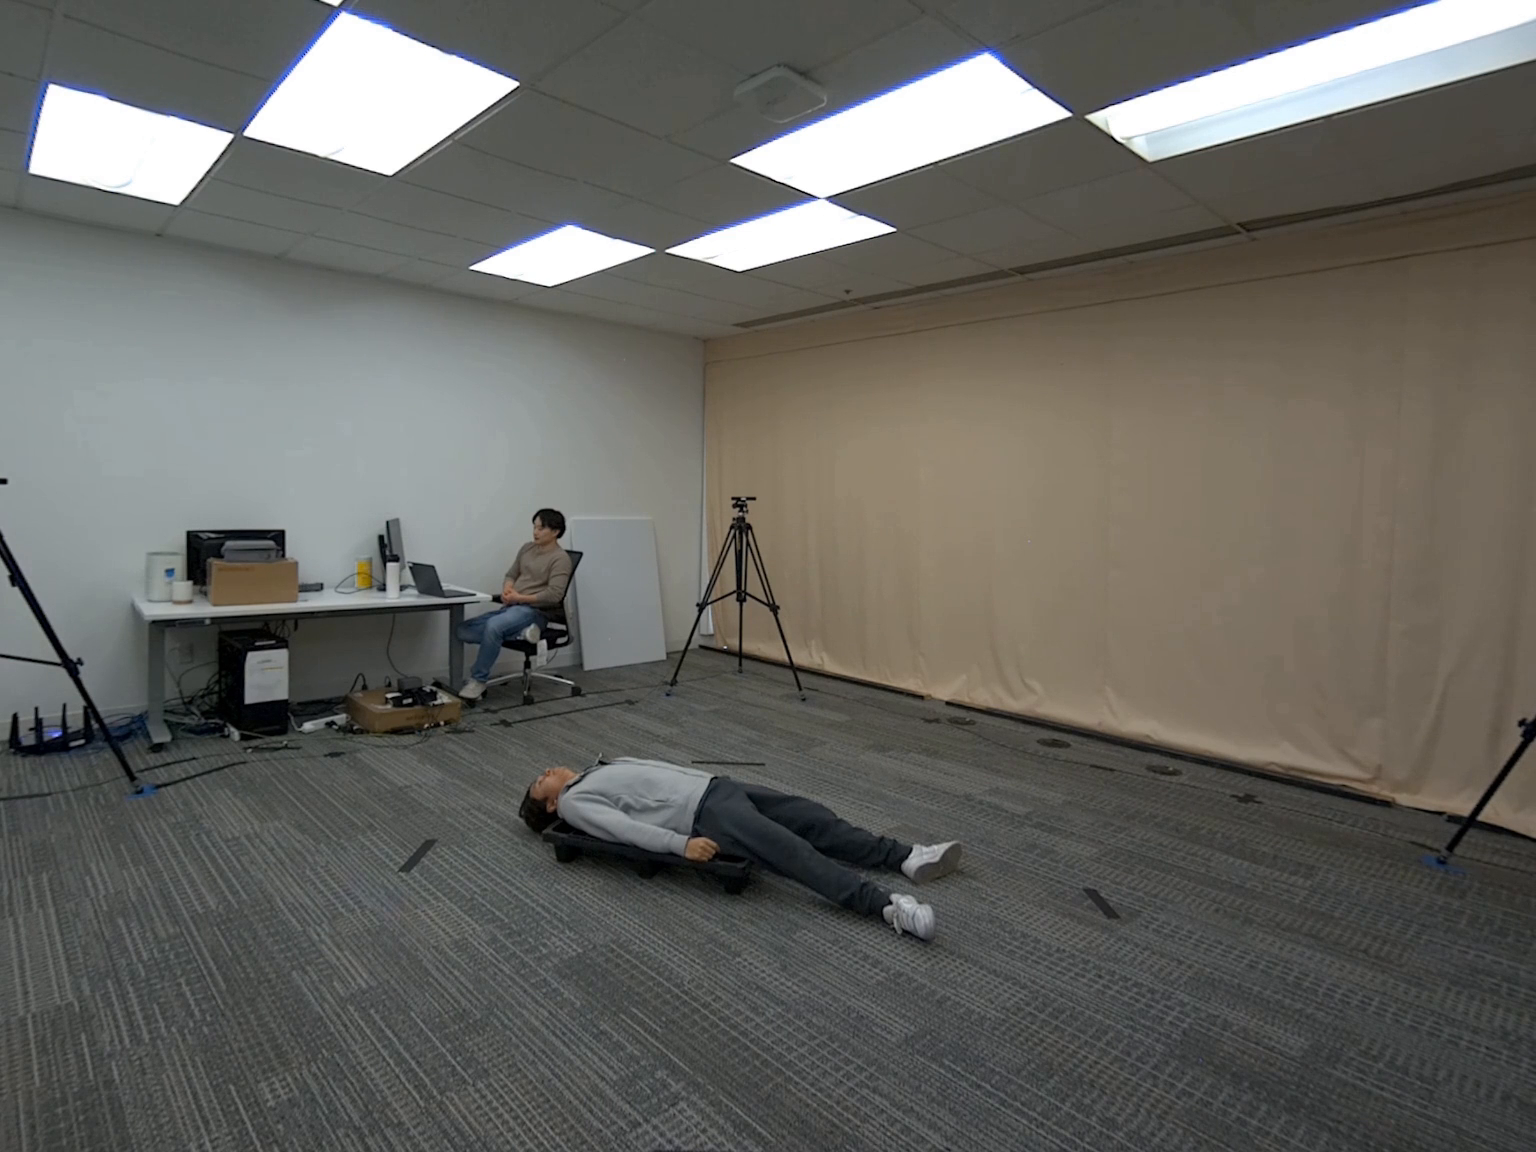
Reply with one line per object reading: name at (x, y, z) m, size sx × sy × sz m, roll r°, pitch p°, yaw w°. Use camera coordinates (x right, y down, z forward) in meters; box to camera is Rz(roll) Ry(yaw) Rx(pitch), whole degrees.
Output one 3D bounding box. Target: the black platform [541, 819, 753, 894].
black platform at (-0.390, 1.008, 3.283) m, size 0.819 × 0.143 × 0.597 m, roll 2°, pitch 6°, yaw 21°
